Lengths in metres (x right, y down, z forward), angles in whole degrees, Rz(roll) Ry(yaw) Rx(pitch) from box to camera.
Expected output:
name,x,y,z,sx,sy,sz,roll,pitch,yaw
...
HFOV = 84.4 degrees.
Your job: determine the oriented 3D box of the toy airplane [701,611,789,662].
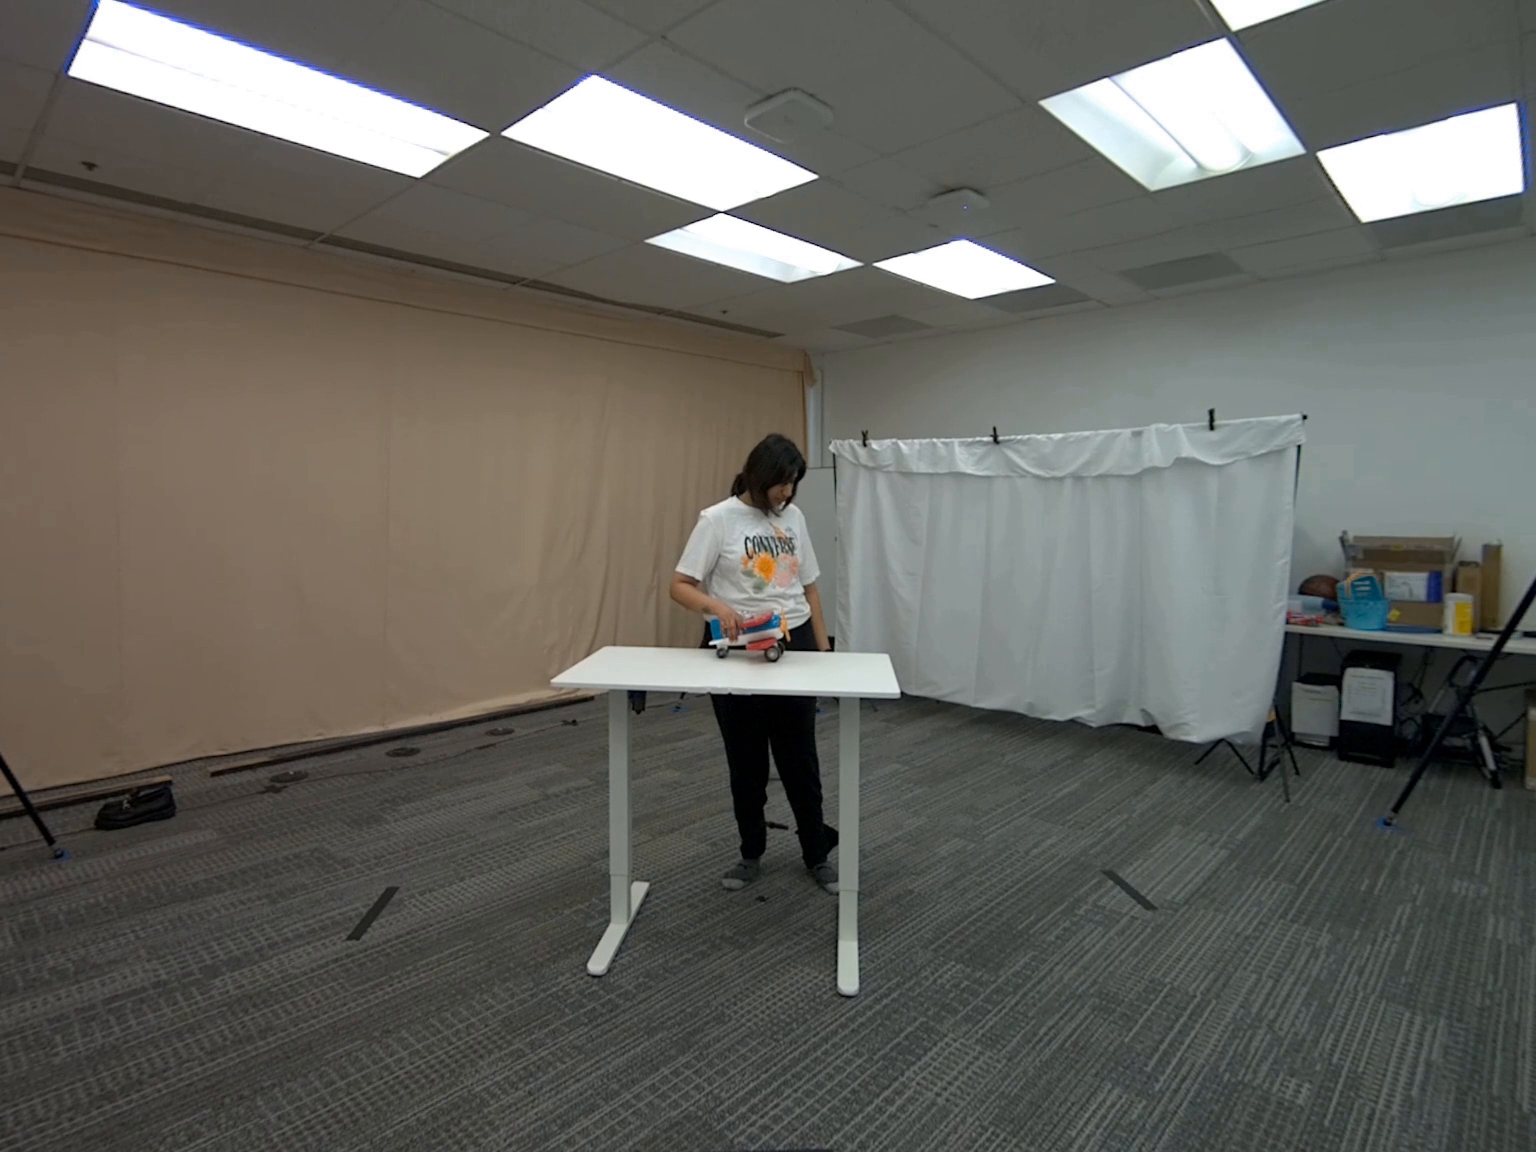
name,x,y,z,sx,sy,sz,roll,pitch,yaw
toy airplane,-0.057,0.200,2.787,0.255,0.156,0.256,-1,4,-16
